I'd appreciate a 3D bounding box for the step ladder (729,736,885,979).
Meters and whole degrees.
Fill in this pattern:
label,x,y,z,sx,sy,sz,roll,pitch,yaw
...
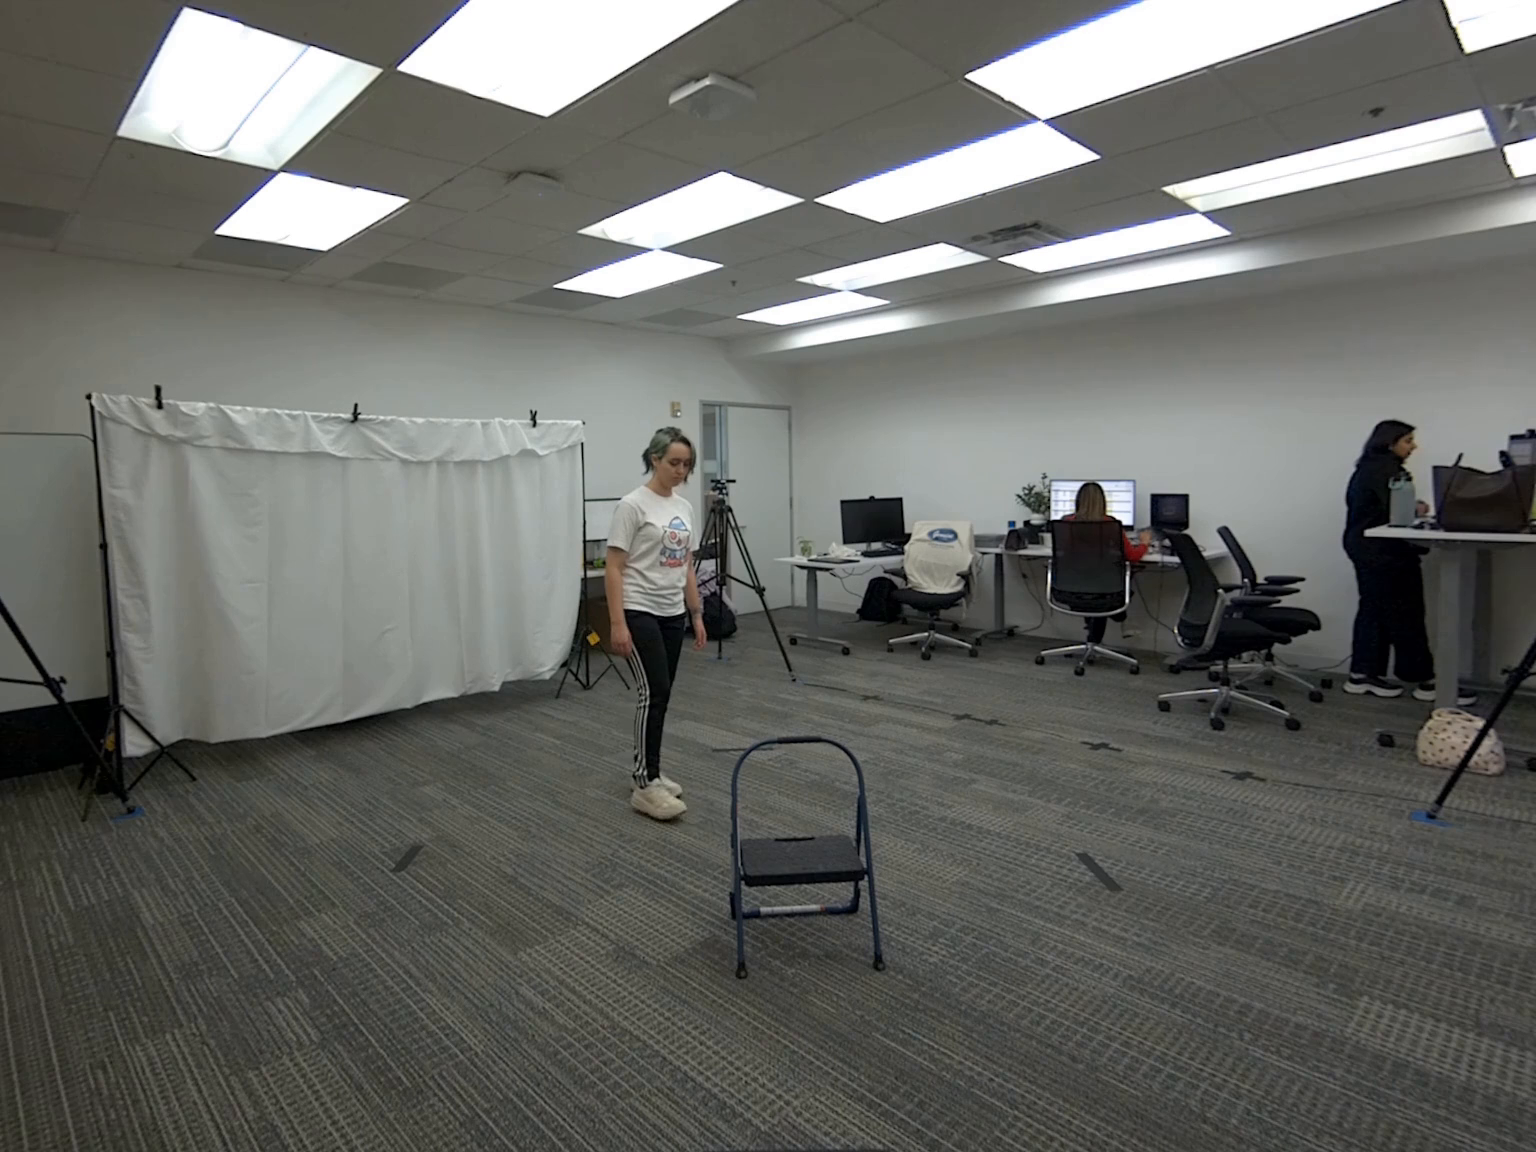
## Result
label,x,y,z,sx,sy,sz,roll,pitch,yaw
step ladder,0.102,0.806,2.564,0.429,0.604,0.352,-1,4,-5
